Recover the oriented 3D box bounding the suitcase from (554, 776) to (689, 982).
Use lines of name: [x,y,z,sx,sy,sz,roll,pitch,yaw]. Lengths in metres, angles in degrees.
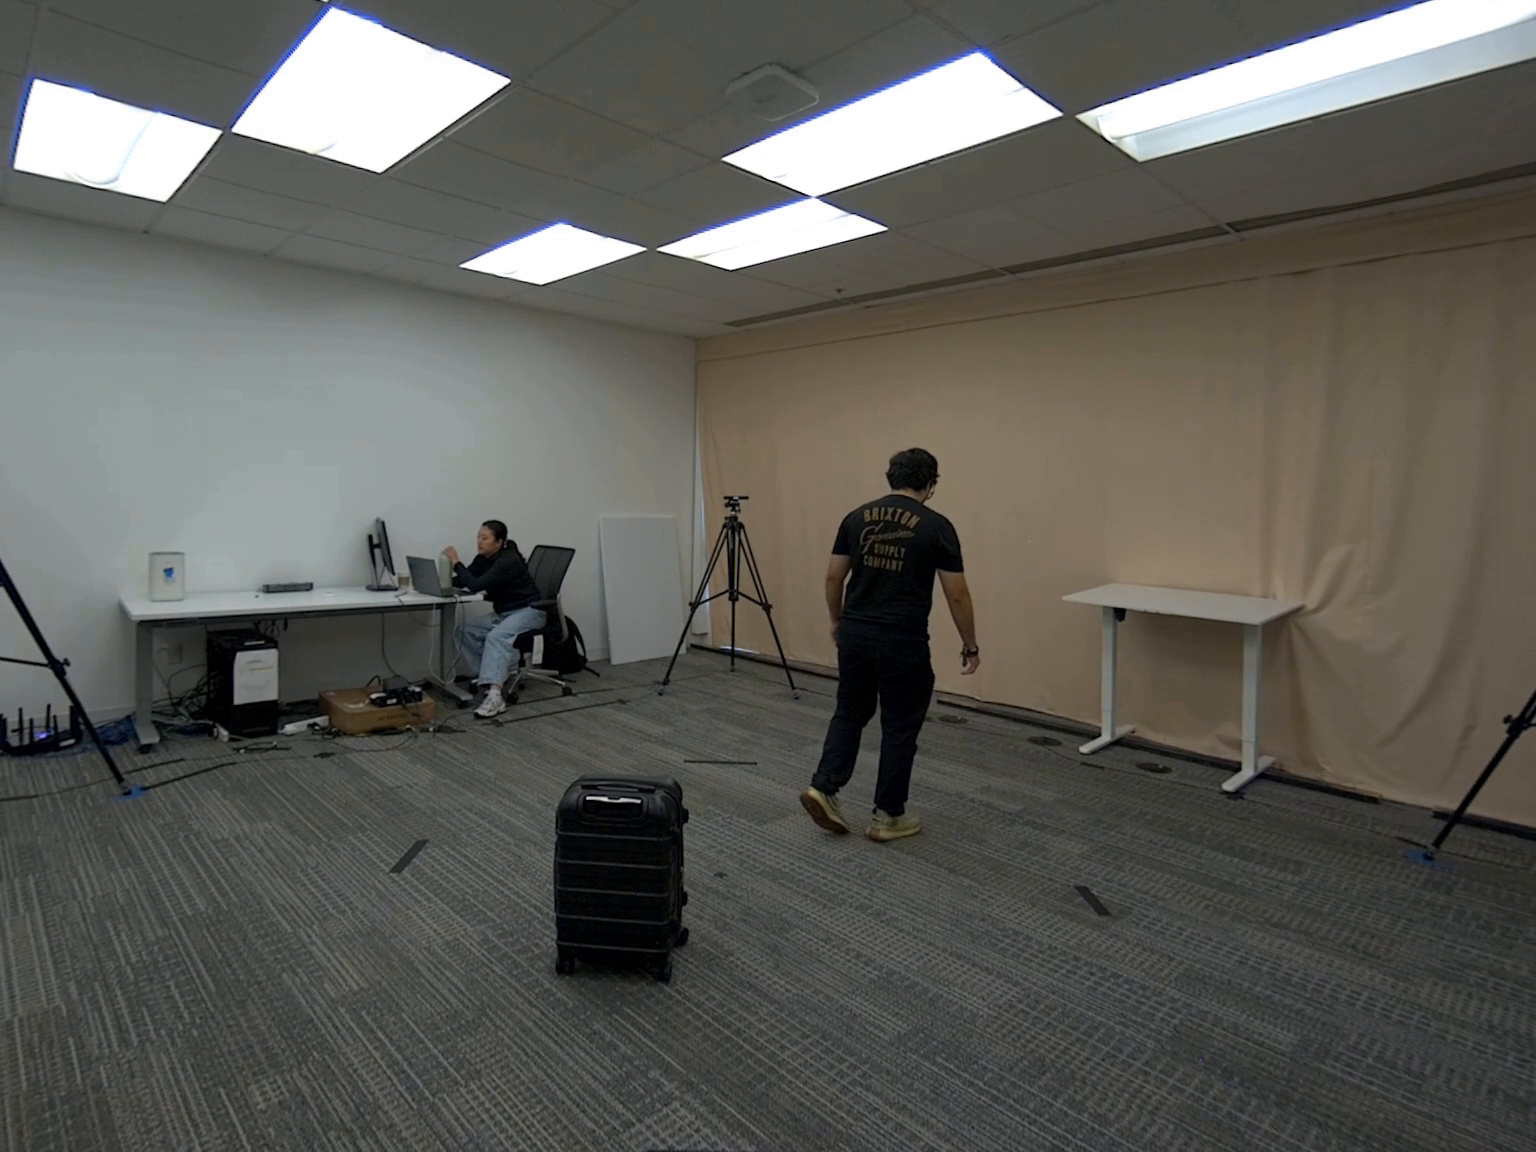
suitcase: [-0.444,0.876,2.497,0.377,0.548,0.248,1,3,6]
